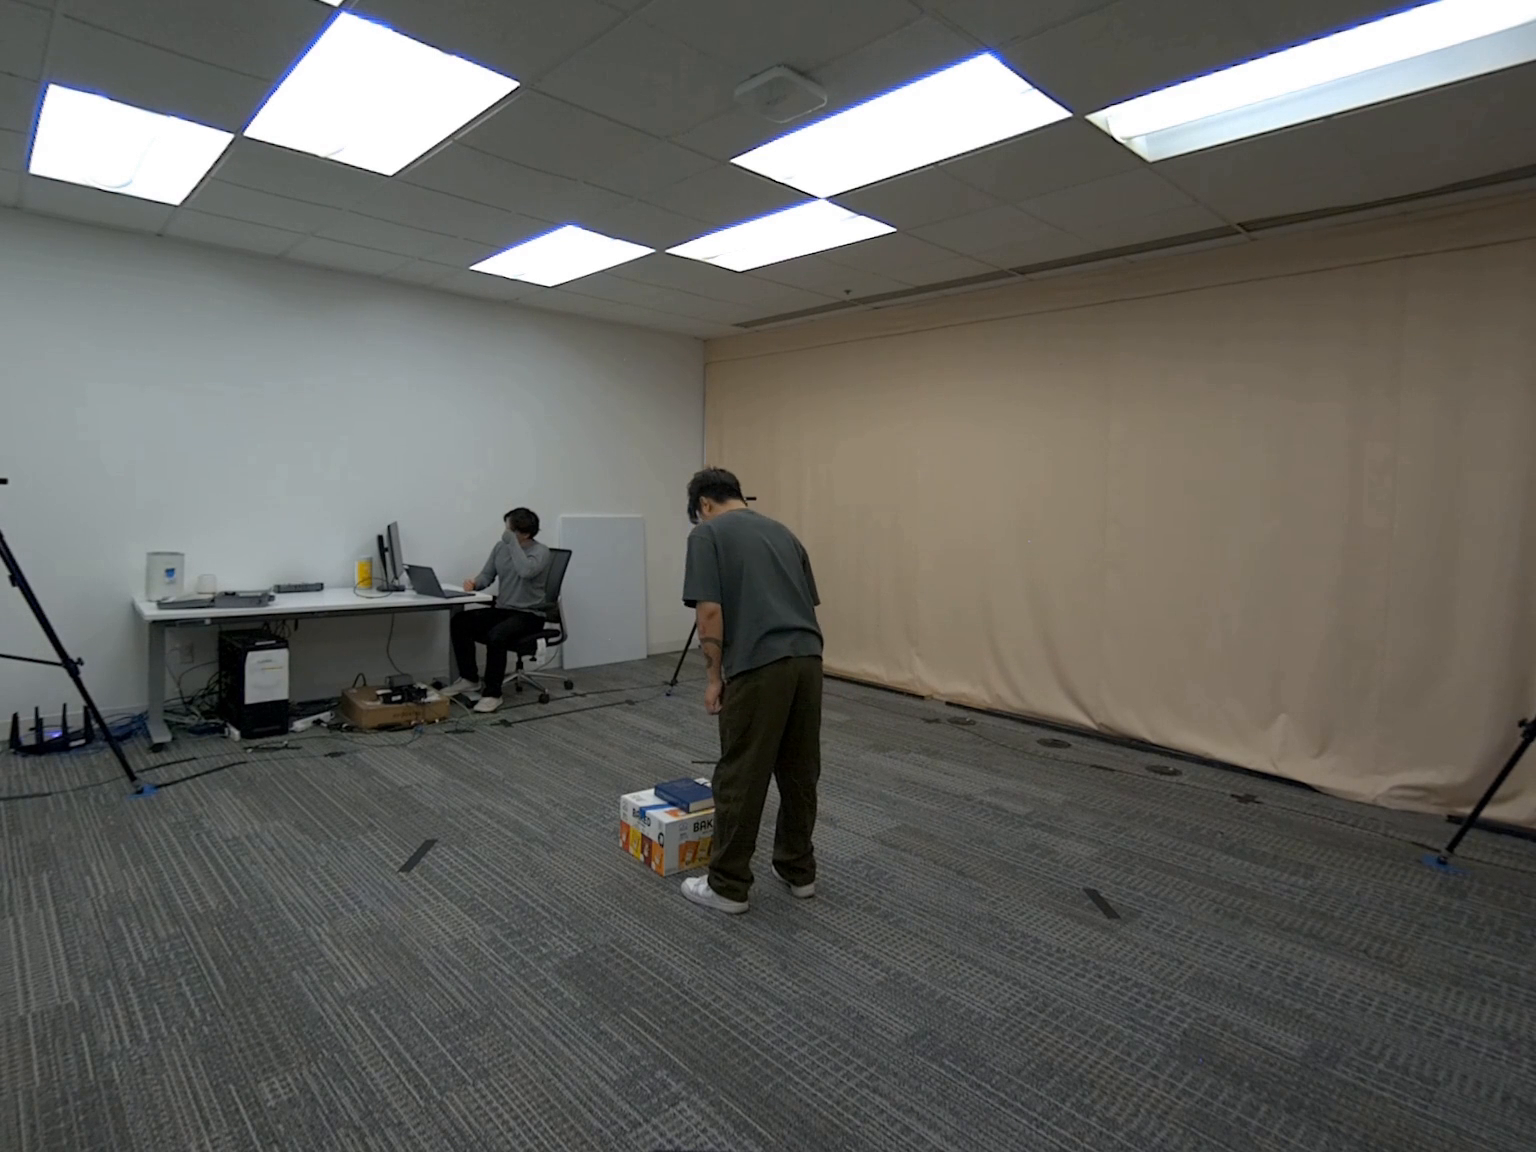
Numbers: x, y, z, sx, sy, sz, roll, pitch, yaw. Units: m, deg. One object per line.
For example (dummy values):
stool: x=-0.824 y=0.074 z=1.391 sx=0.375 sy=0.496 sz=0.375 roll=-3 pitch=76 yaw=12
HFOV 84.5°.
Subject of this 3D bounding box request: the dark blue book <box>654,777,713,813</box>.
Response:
dark blue book: x=-0.329 y=0.869 z=3.338 sx=0.160 sy=0.045 sz=0.251 roll=-3 pitch=6 yaw=-39
